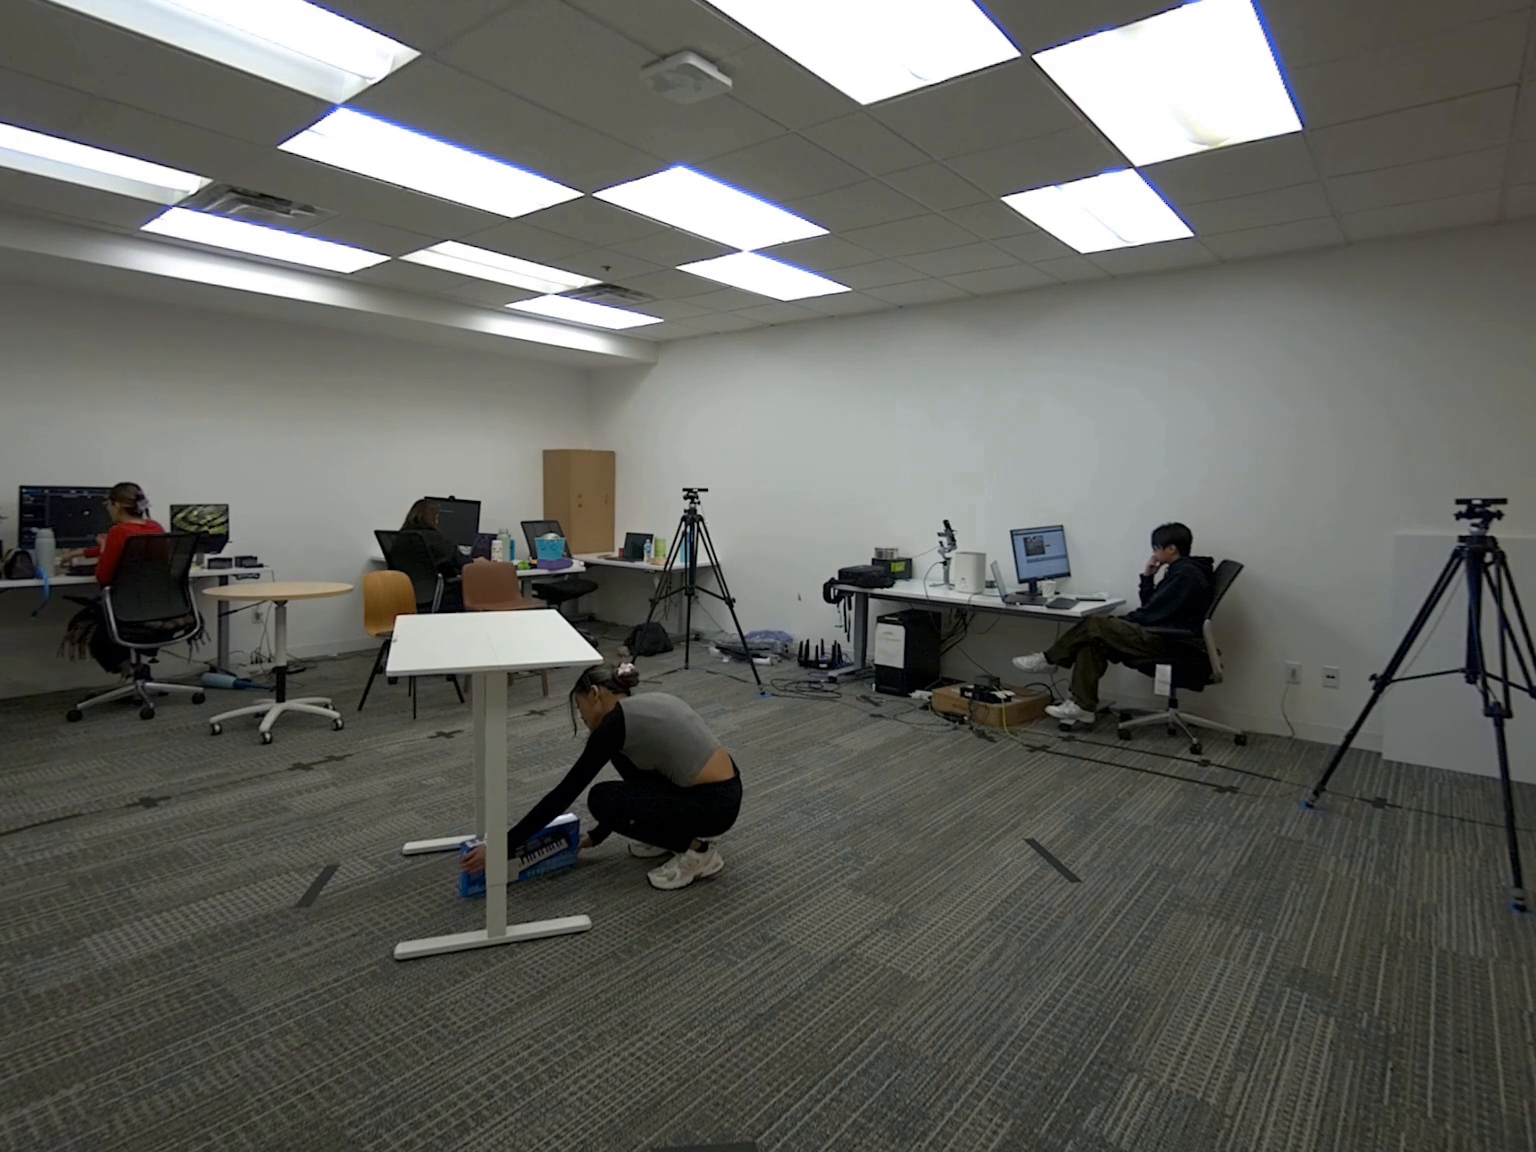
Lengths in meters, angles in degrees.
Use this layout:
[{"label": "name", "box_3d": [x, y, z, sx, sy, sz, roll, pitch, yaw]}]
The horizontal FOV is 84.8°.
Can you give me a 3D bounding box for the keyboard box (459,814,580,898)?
[{"label": "keyboard box", "box_3d": [-0.885, 0.985, 3.019, 0.424, 0.175, 0.061, -4, 10, -42]}]
